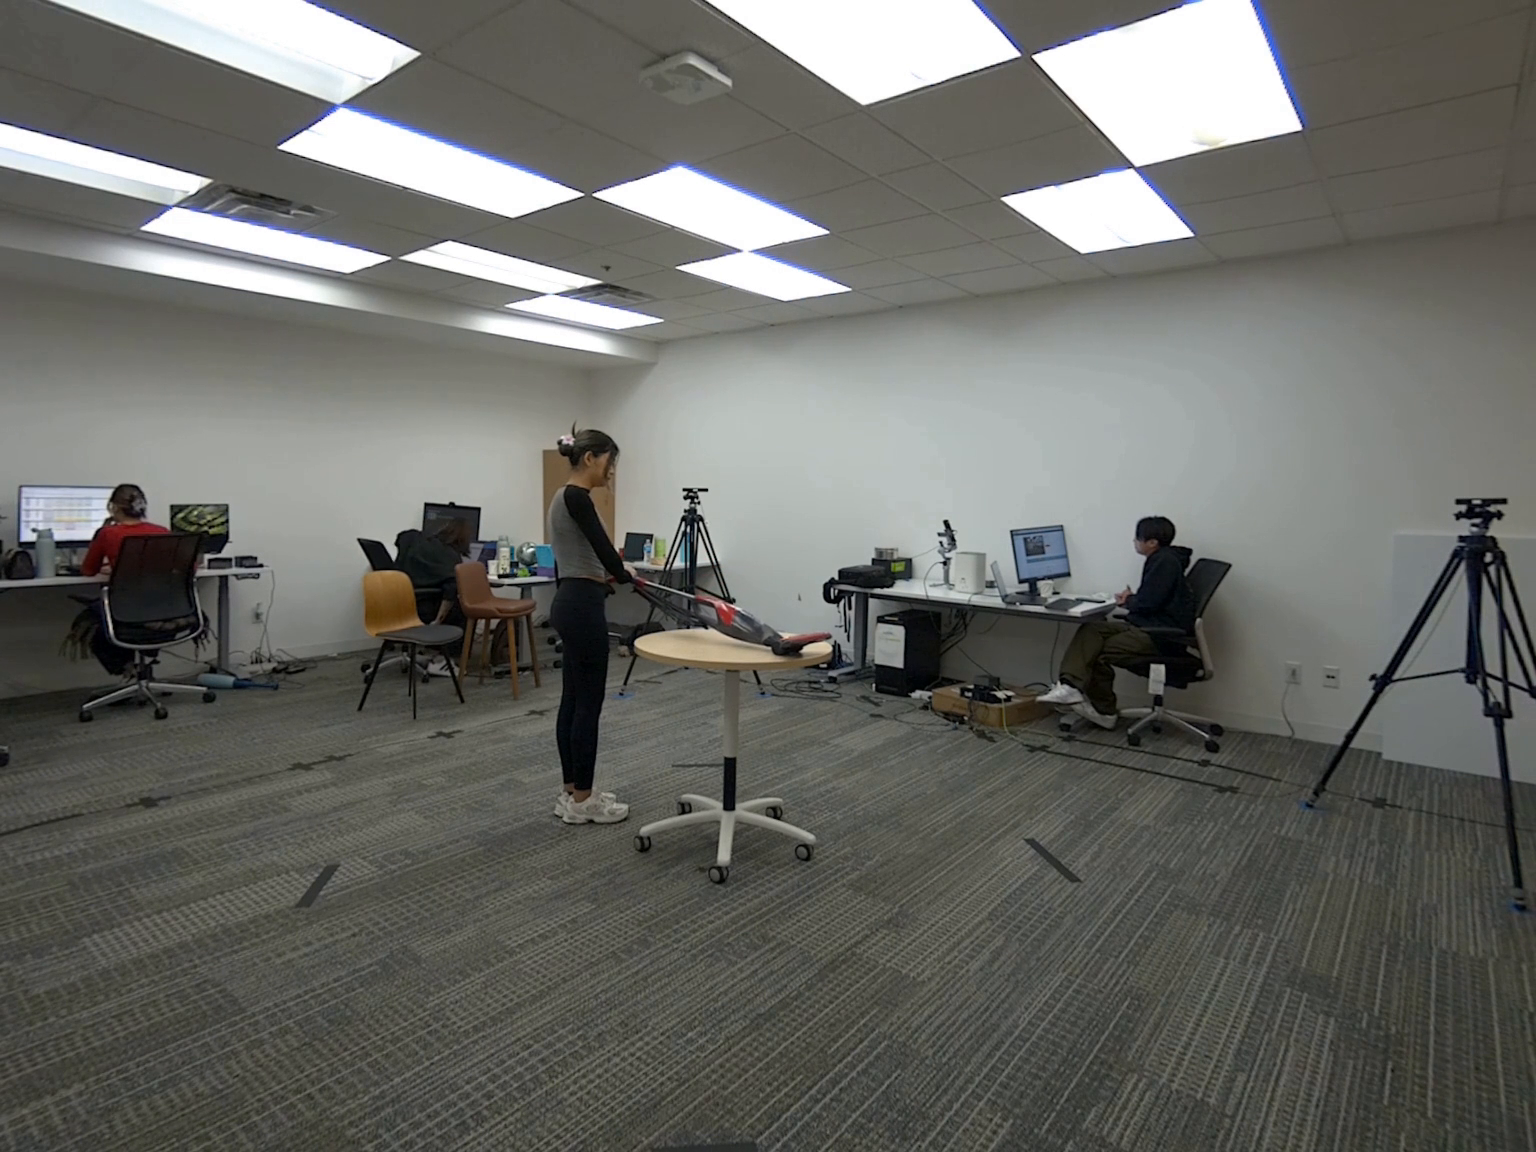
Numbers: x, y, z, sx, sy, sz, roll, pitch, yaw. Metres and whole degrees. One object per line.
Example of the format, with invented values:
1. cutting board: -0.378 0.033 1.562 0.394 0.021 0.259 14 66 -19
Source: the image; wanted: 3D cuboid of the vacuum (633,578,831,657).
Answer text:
1. vacuum: -0.285 0.145 3.423 1.089 0.143 0.245 16 13 39
